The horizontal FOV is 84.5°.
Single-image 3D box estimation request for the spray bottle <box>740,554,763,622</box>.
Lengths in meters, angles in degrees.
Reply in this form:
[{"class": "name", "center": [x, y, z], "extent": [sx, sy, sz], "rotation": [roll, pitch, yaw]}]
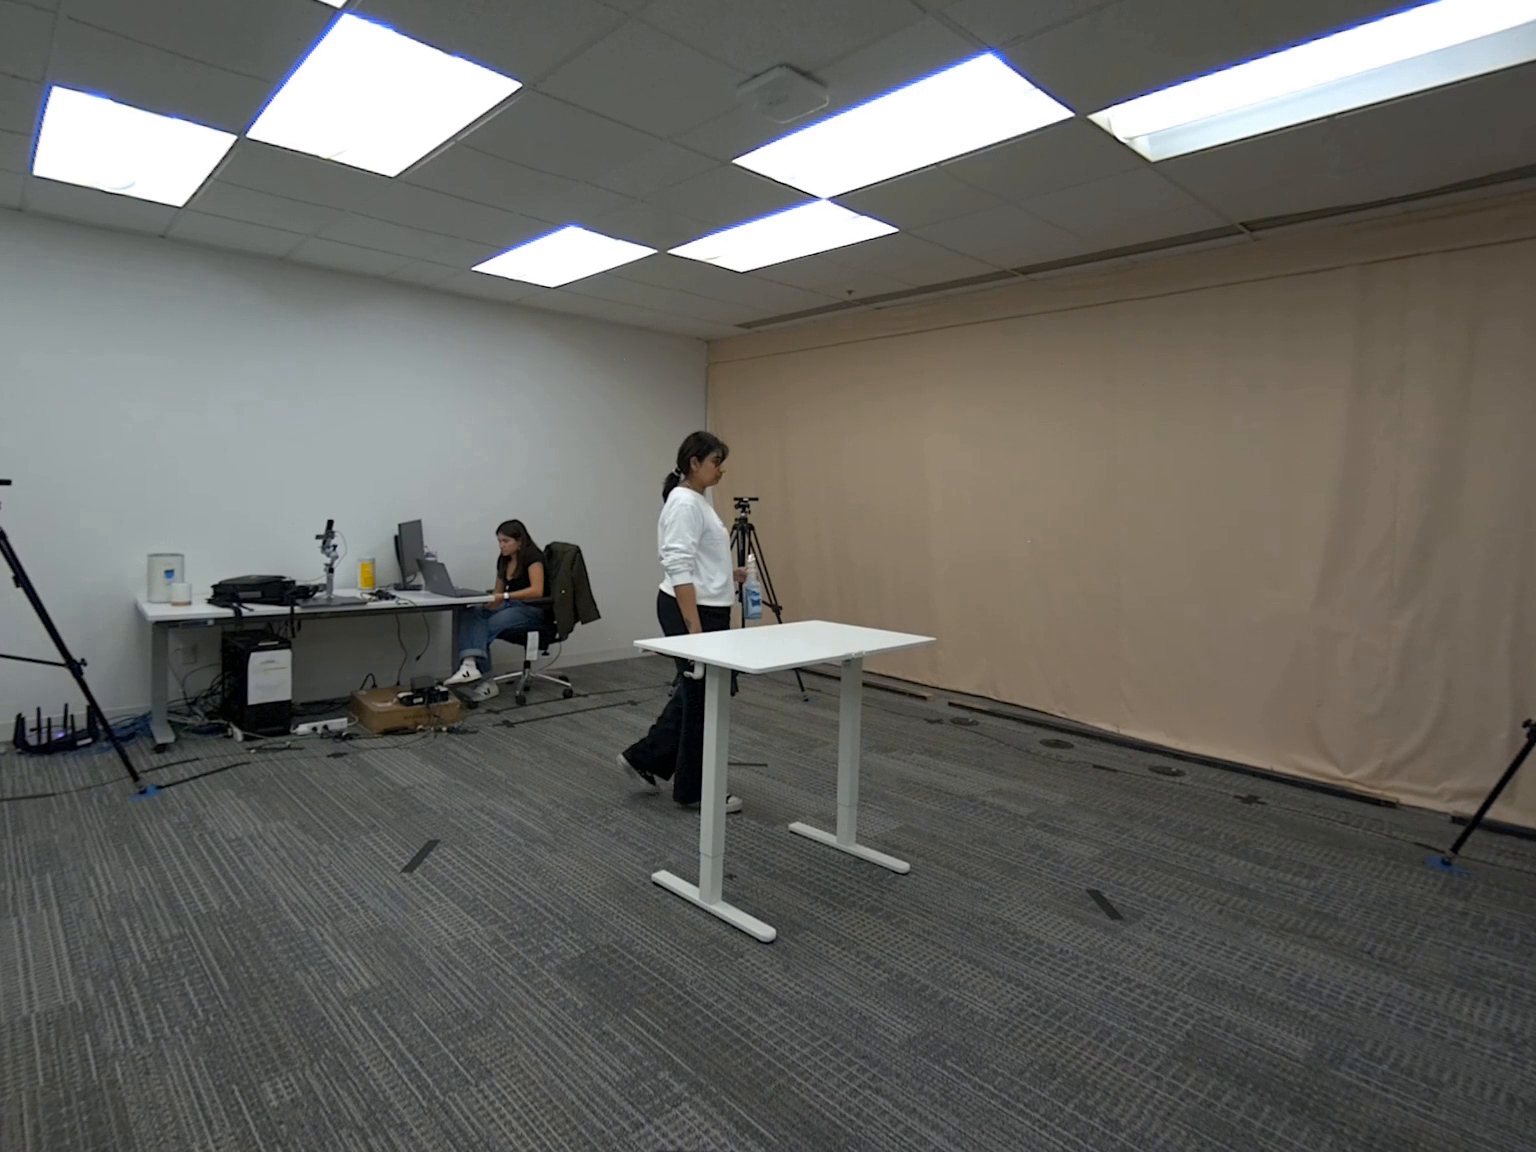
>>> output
[{"class": "spray bottle", "center": [-0.091, 0.049, 3.885], "extent": [0.089, 0.297, 0.088], "rotation": [-1, 3, 36]}]
